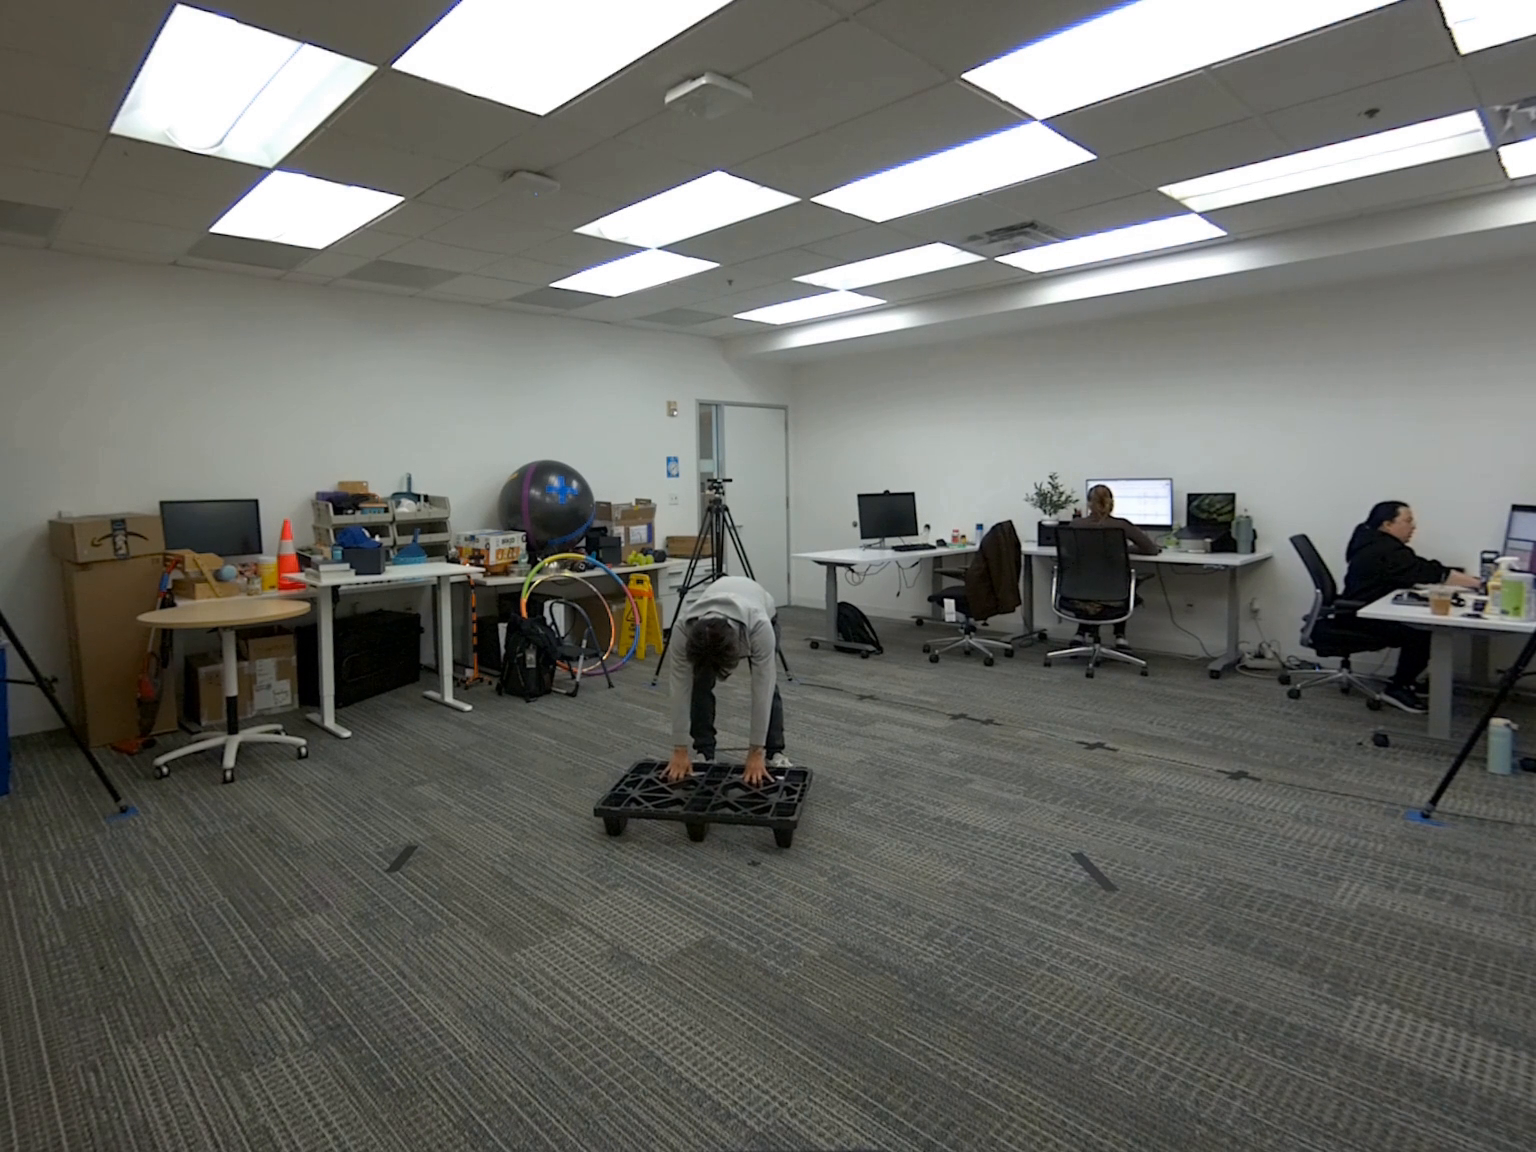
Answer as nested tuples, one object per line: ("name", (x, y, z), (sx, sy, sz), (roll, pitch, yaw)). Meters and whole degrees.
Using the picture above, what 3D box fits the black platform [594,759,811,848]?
("black platform", (-0.242, 0.929, 3.525), (0.815, 0.143, 0.600), (0, 5, 11))
